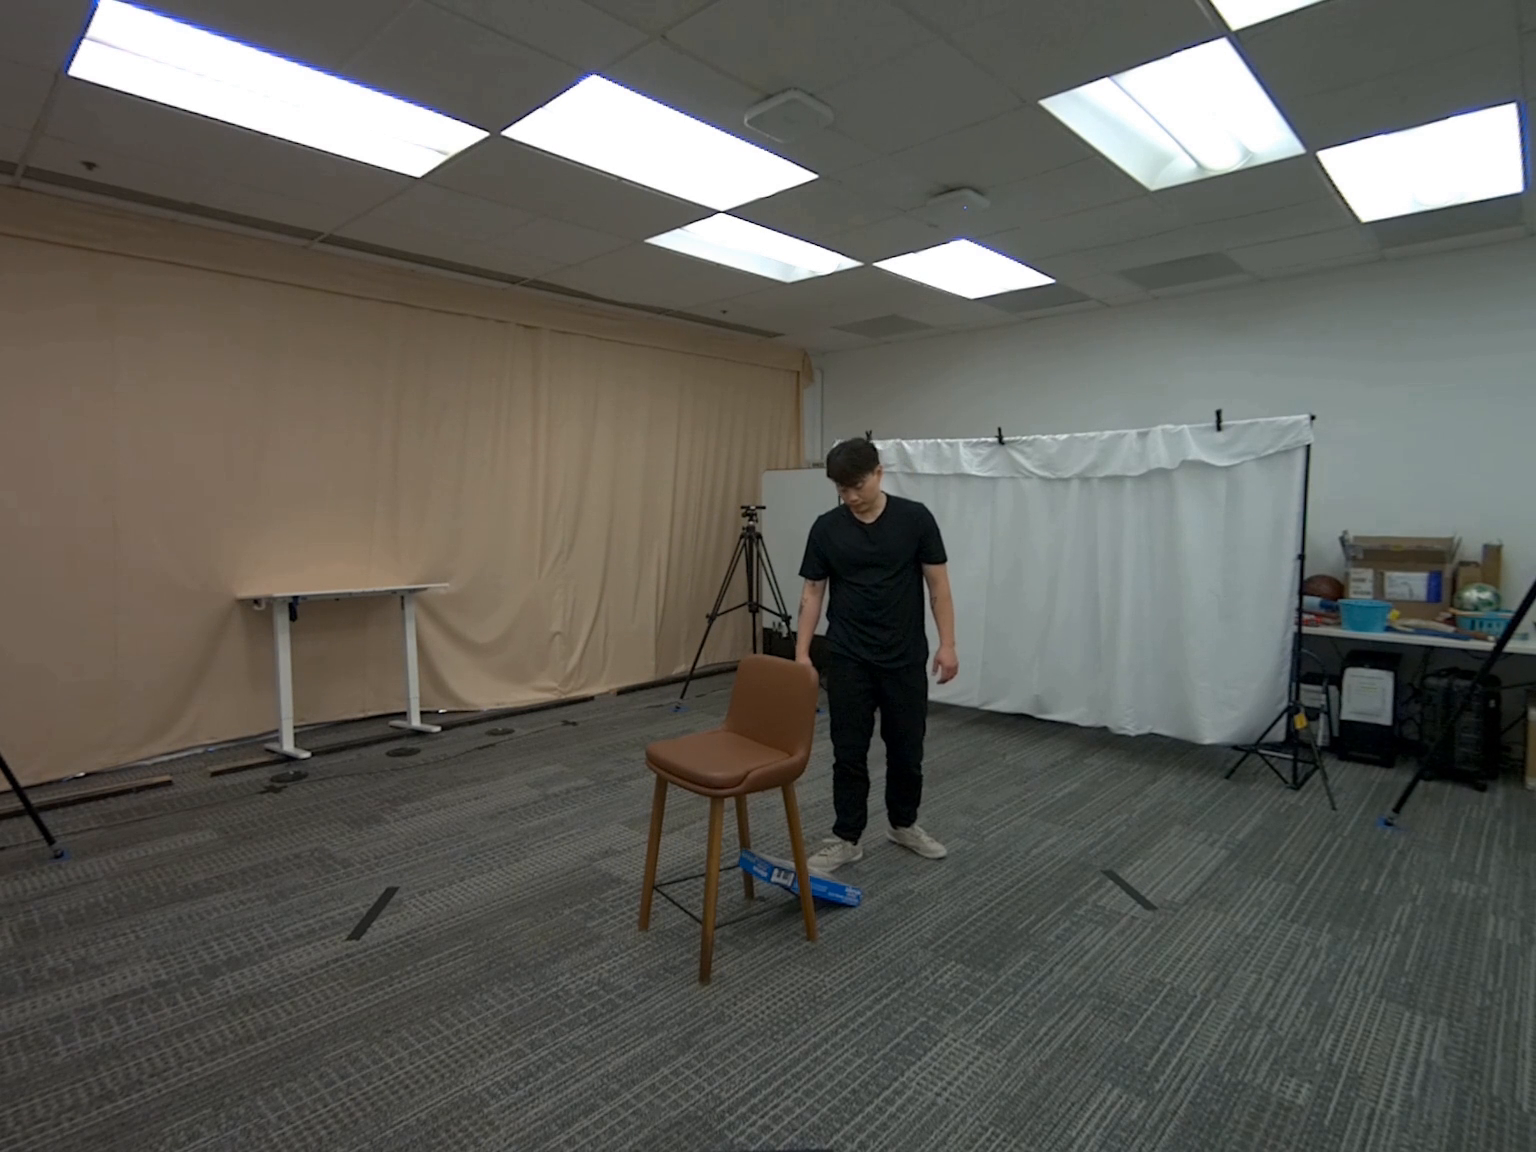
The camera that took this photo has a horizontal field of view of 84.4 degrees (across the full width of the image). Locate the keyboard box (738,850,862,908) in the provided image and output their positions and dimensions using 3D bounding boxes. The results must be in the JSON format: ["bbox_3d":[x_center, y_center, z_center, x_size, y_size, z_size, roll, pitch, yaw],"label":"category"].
[{"bbox_3d":[0.115,1.038,2.886,0.422,0.059,0.181,28,-13,-33],"label":"keyboard box"}]
